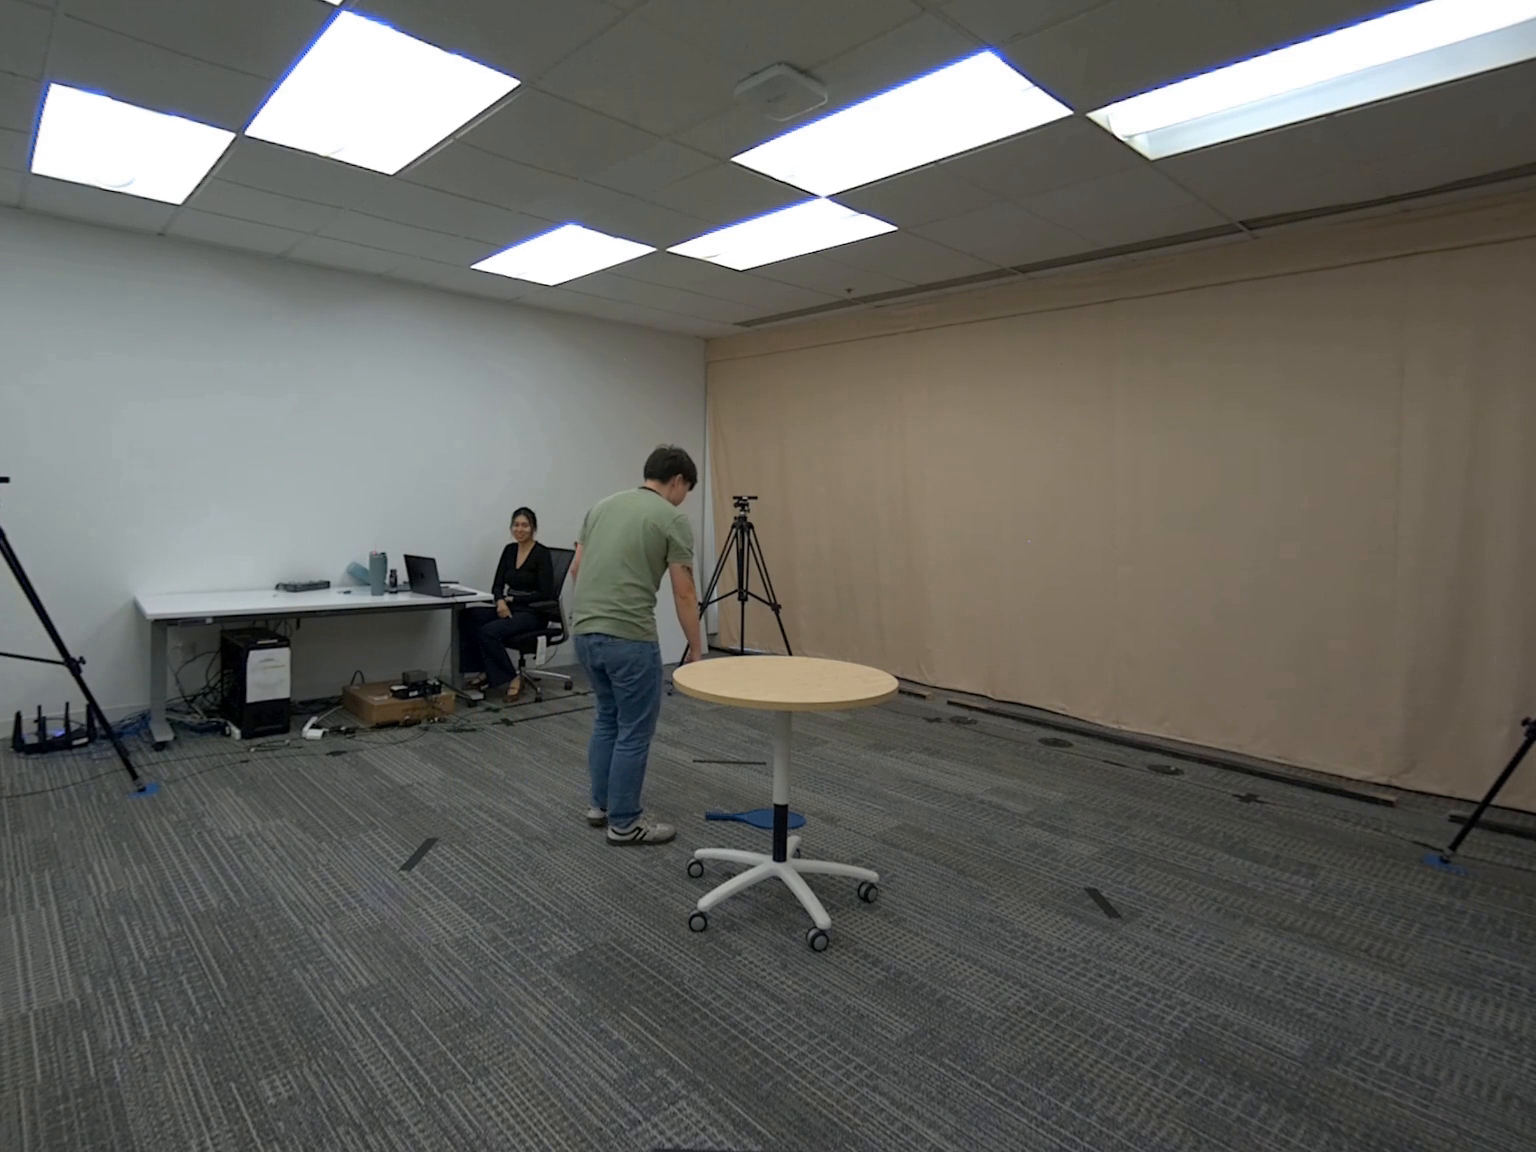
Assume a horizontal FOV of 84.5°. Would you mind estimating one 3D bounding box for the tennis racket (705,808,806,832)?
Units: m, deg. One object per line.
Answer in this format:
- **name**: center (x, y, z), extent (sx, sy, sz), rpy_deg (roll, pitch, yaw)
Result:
- **tennis racket**: center (-0.067, 1.043, 3.644), extent (0.433, 0.032, 0.214), rpy_deg (2, 4, -1)
